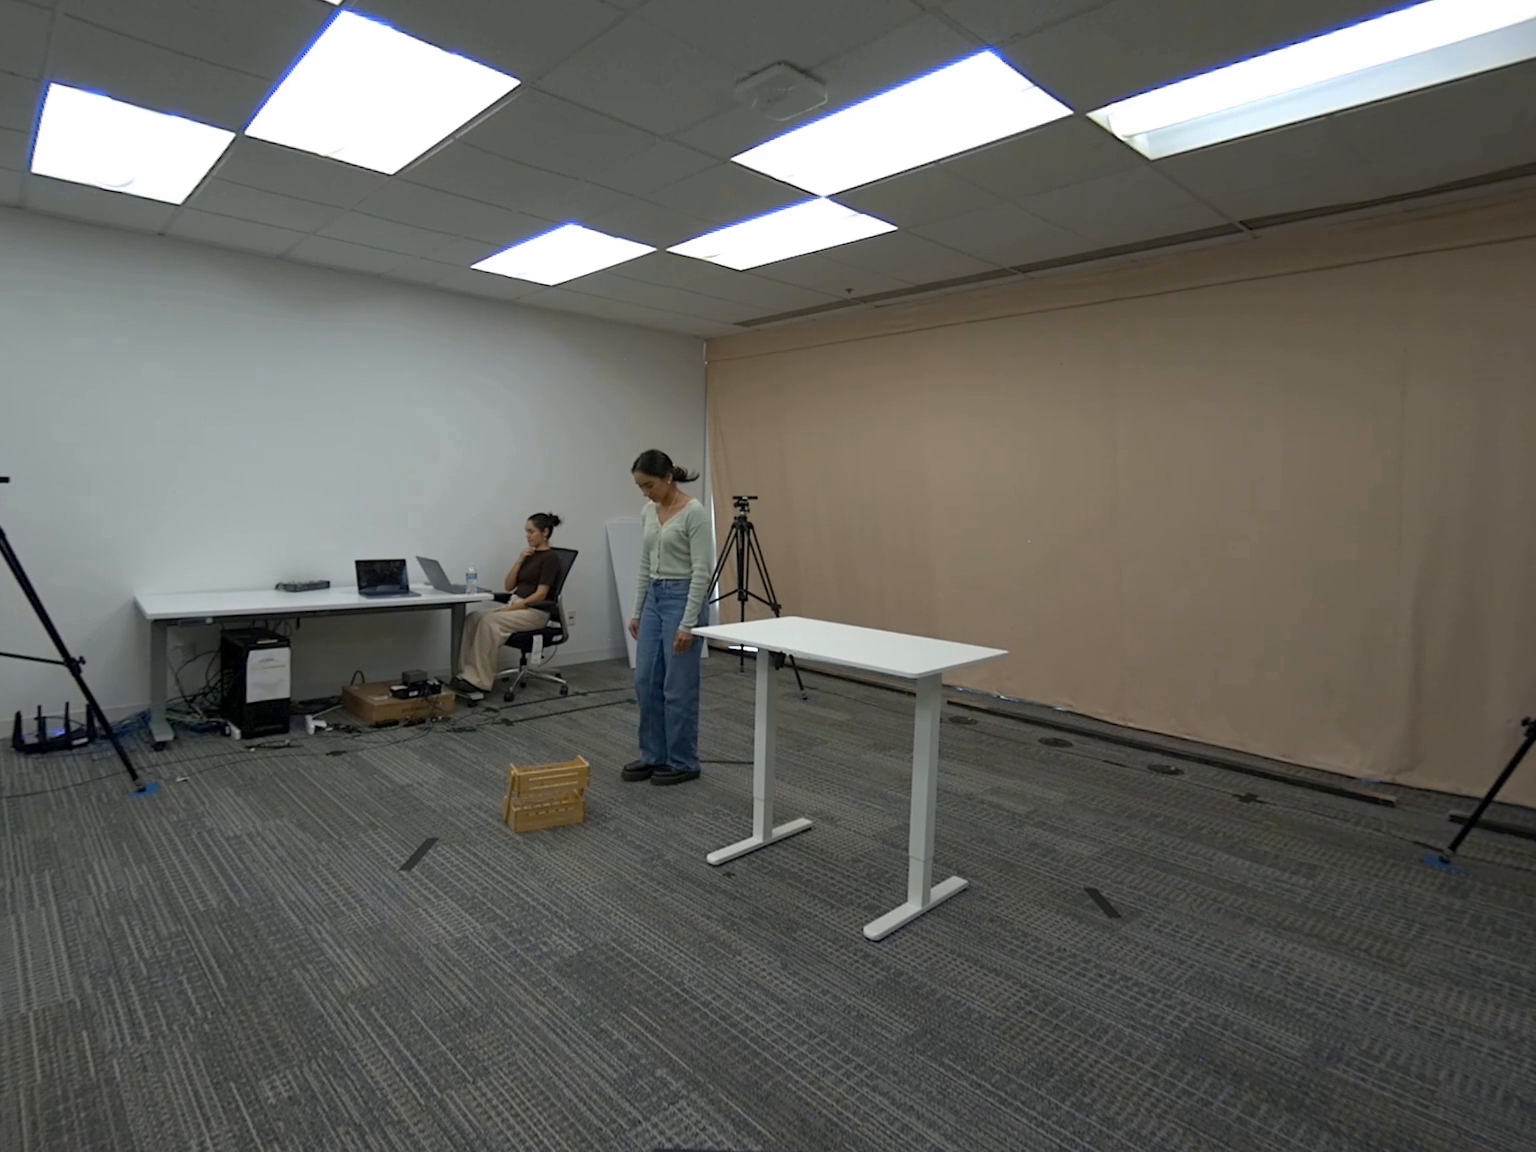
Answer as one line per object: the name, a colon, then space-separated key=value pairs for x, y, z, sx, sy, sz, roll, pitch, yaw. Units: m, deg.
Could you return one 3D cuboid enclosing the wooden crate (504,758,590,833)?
wooden crate: x=-0.964 y=0.908 z=3.592 sx=0.318 sy=0.272 sz=0.309 roll=0 pitch=5 yaw=-30
